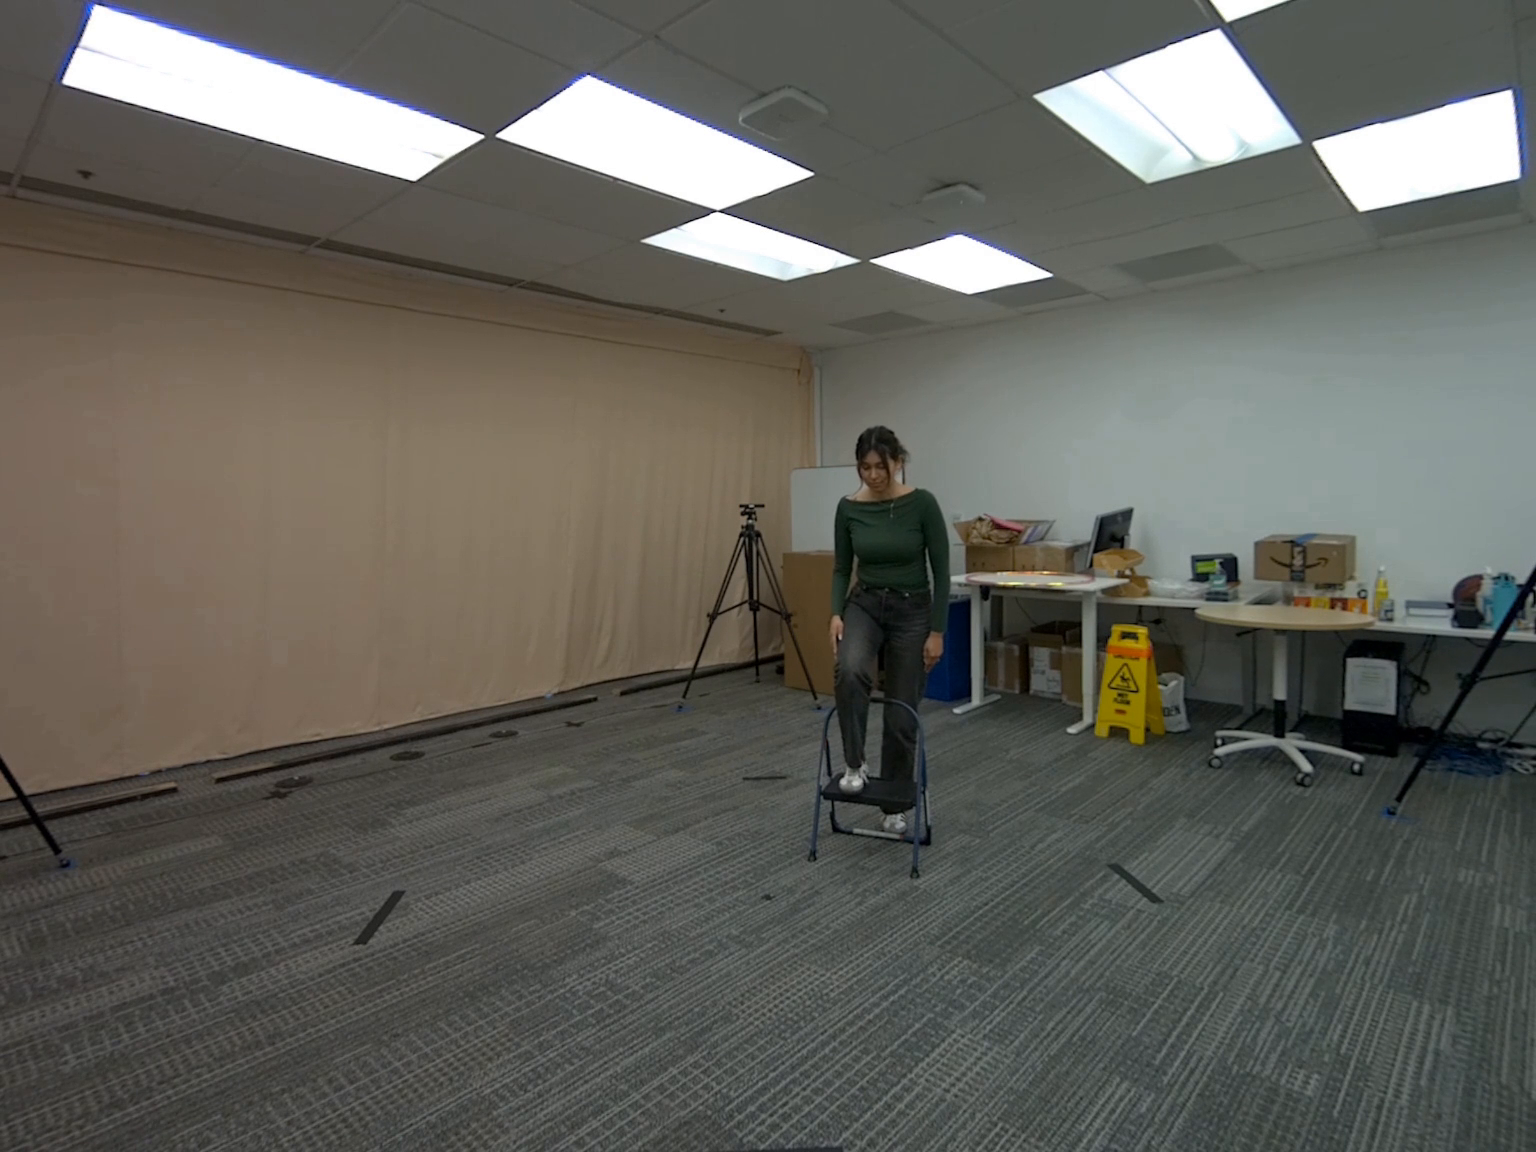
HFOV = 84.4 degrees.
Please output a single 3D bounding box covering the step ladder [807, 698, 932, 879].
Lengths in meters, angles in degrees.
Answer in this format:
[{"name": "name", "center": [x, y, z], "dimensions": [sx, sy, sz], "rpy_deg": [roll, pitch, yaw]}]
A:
[{"name": "step ladder", "center": [0.414, 0.798, 3.338], "dimensions": [0.440, 0.605, 0.342], "rpy_deg": [0, 3, 22]}]
